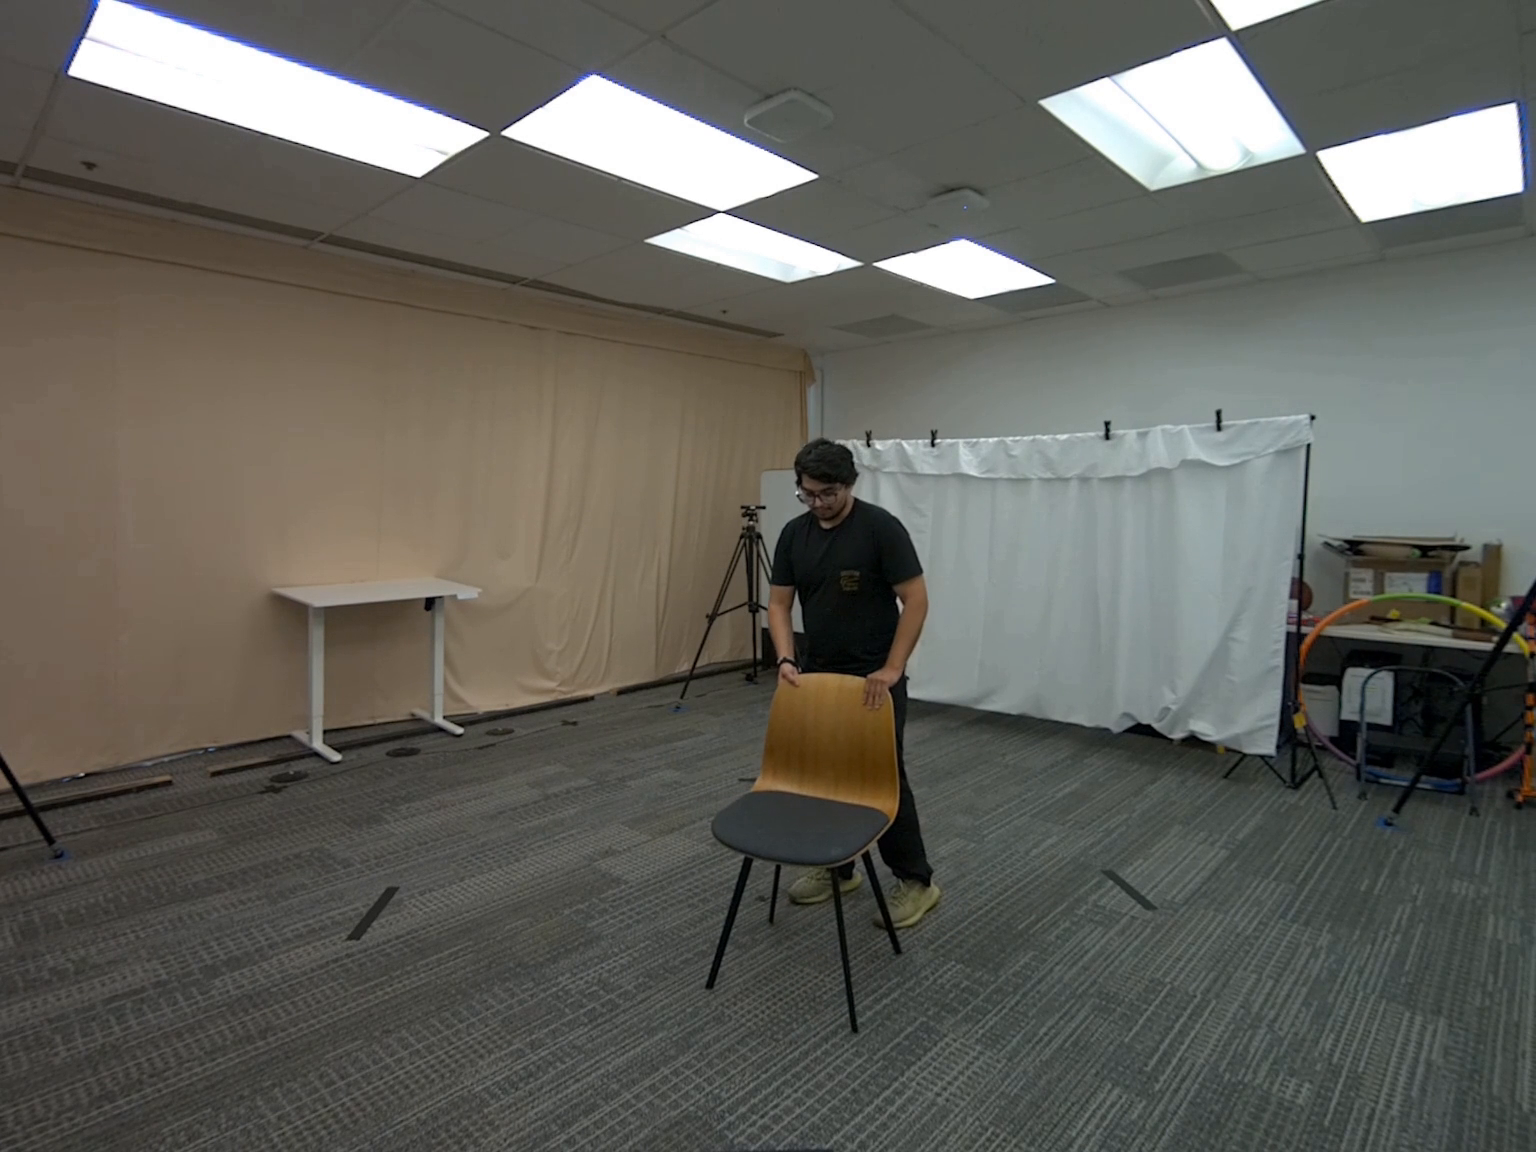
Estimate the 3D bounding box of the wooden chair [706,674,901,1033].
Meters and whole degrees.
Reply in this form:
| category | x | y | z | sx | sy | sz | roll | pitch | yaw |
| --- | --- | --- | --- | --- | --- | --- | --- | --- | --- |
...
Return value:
| category | x | y | z | sx | sy | sz | roll | pitch | yaw |
| --- | --- | --- | --- | --- | --- | --- | --- | --- | --- |
| wooden chair | 0.120 | 0.755 | 2.485 | 0.491 | 0.878 | 0.509 | 2 | -1 | 26 |
